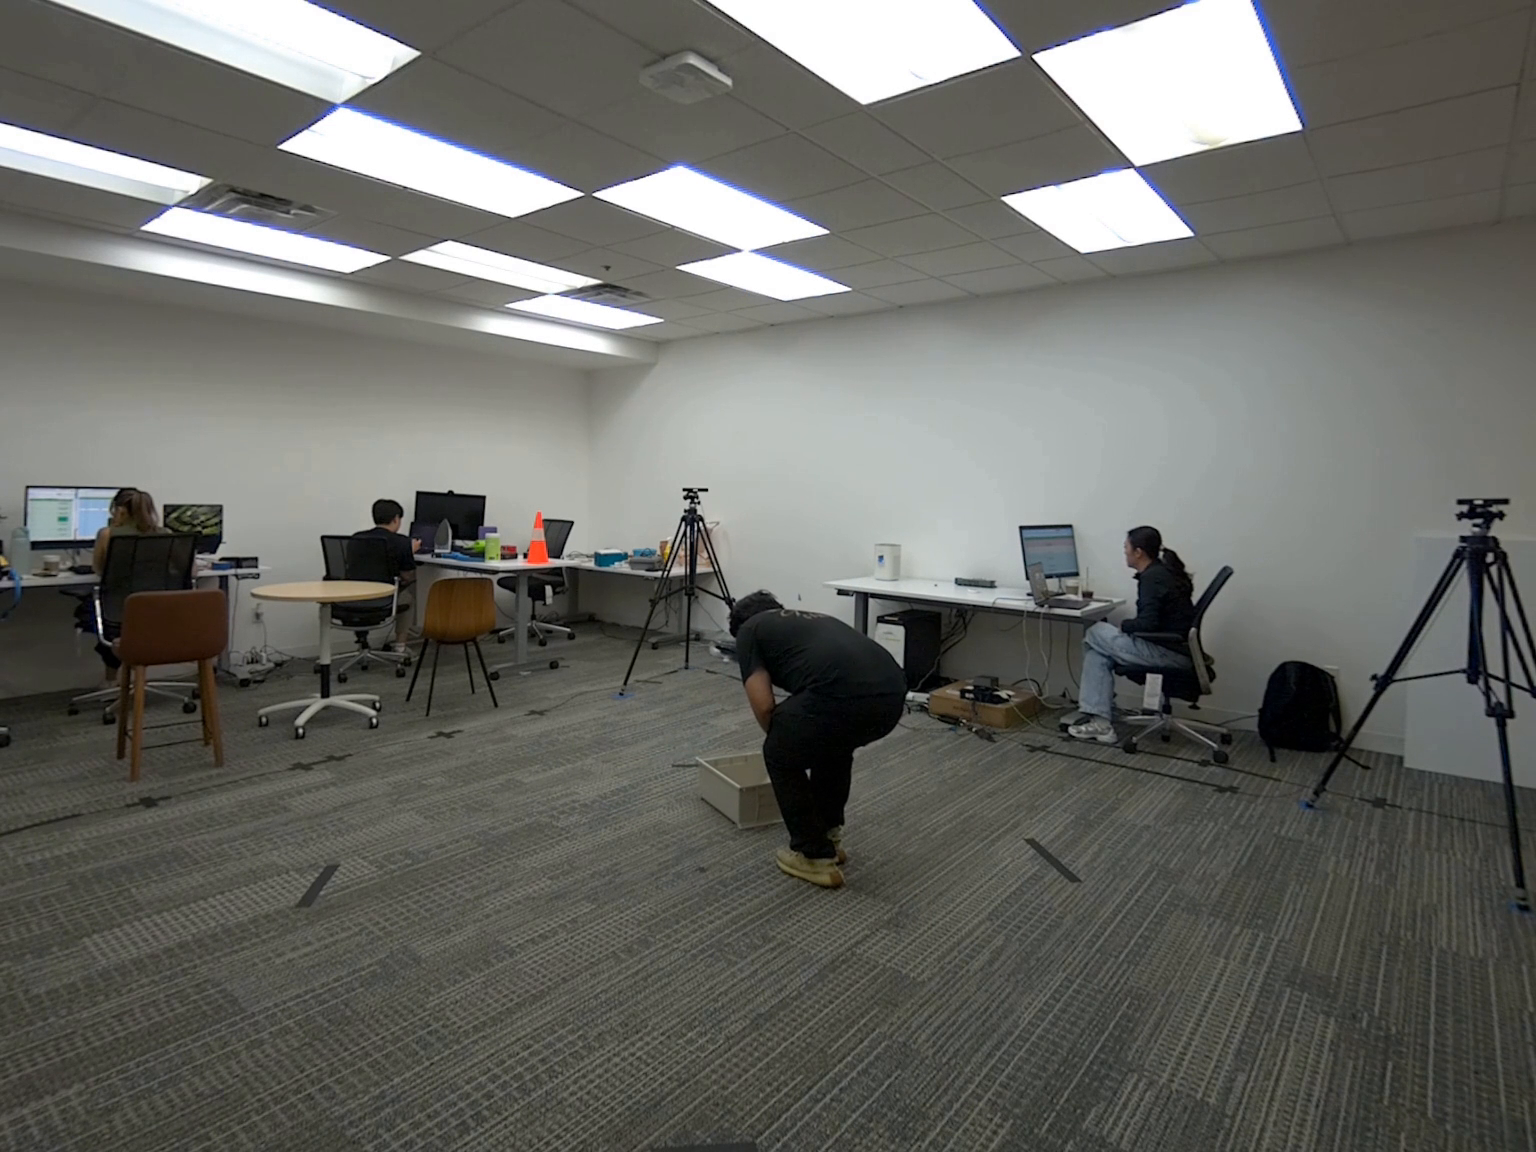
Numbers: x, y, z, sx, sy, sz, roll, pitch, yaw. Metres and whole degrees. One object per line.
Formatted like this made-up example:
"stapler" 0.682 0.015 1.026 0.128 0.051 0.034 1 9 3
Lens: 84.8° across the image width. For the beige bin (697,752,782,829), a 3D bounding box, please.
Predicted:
"beige bin" -0.075 0.920 3.740 0.368 0.188 0.435 -4 7 -29
